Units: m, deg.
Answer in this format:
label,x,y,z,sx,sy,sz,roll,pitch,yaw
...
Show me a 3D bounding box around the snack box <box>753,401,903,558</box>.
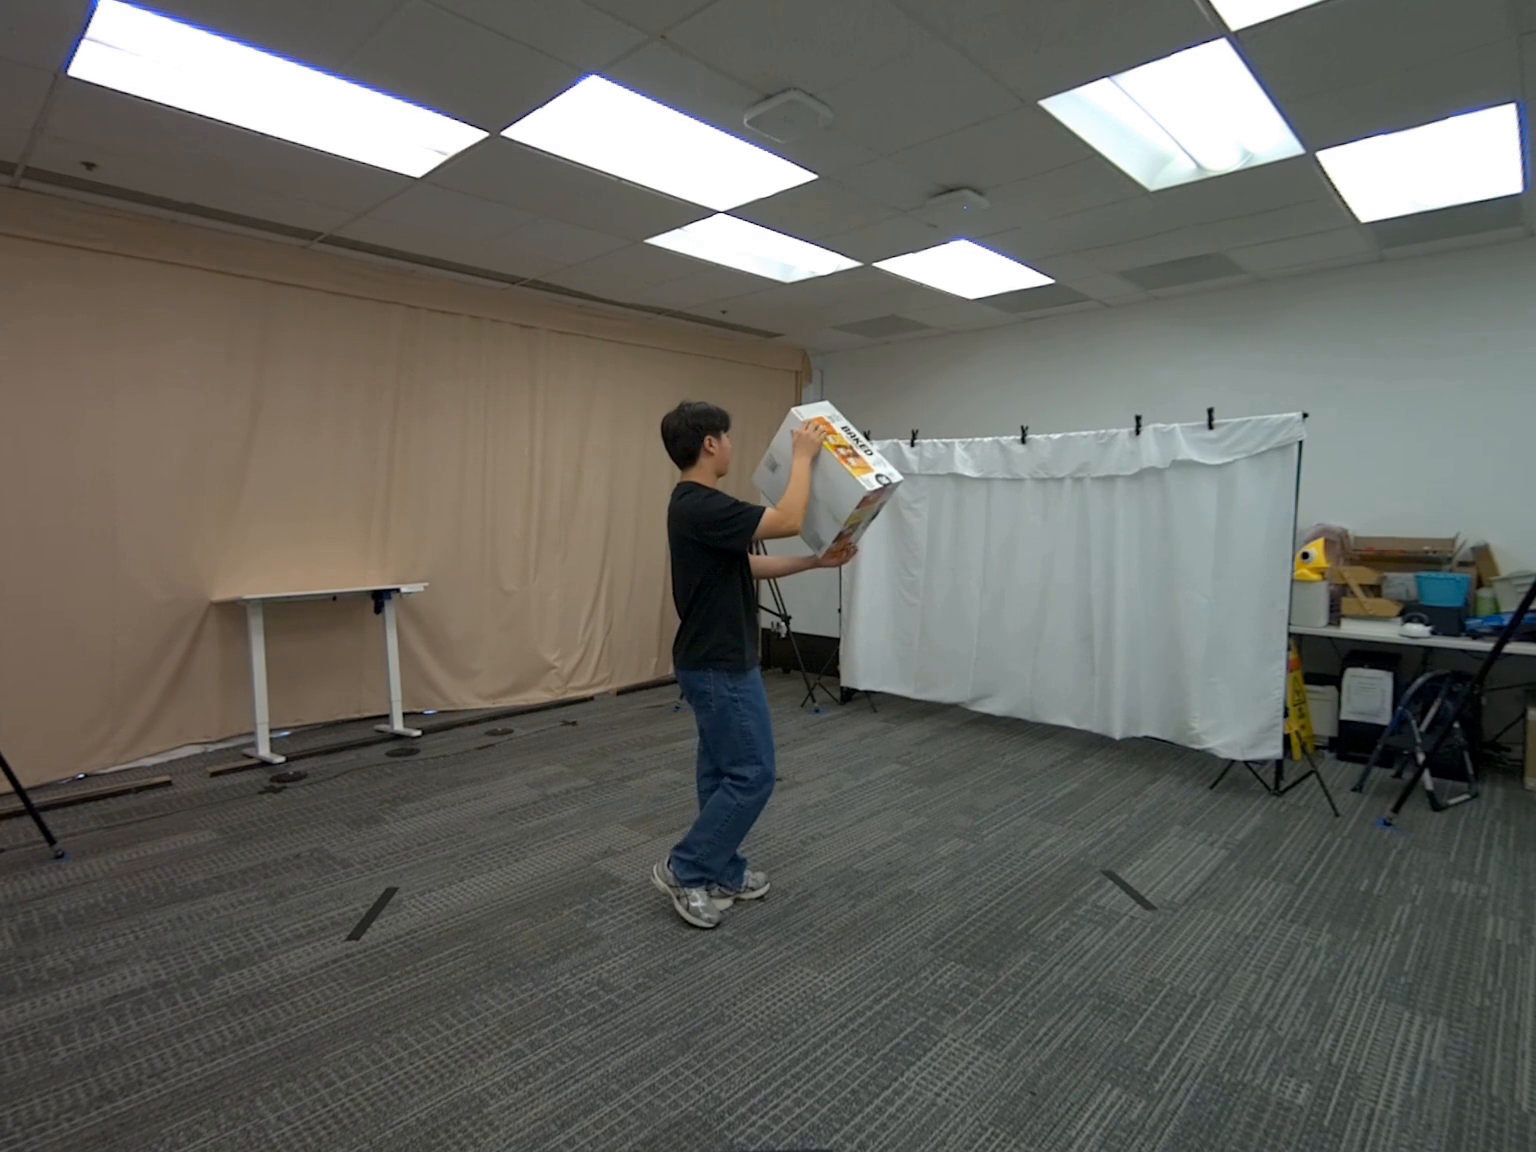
label,x,y,z,sx,sy,sz,roll,pitch,yaw
snack box,0.196,-0.330,2.920,0.201,0.415,0.340,-19,-30,-43
